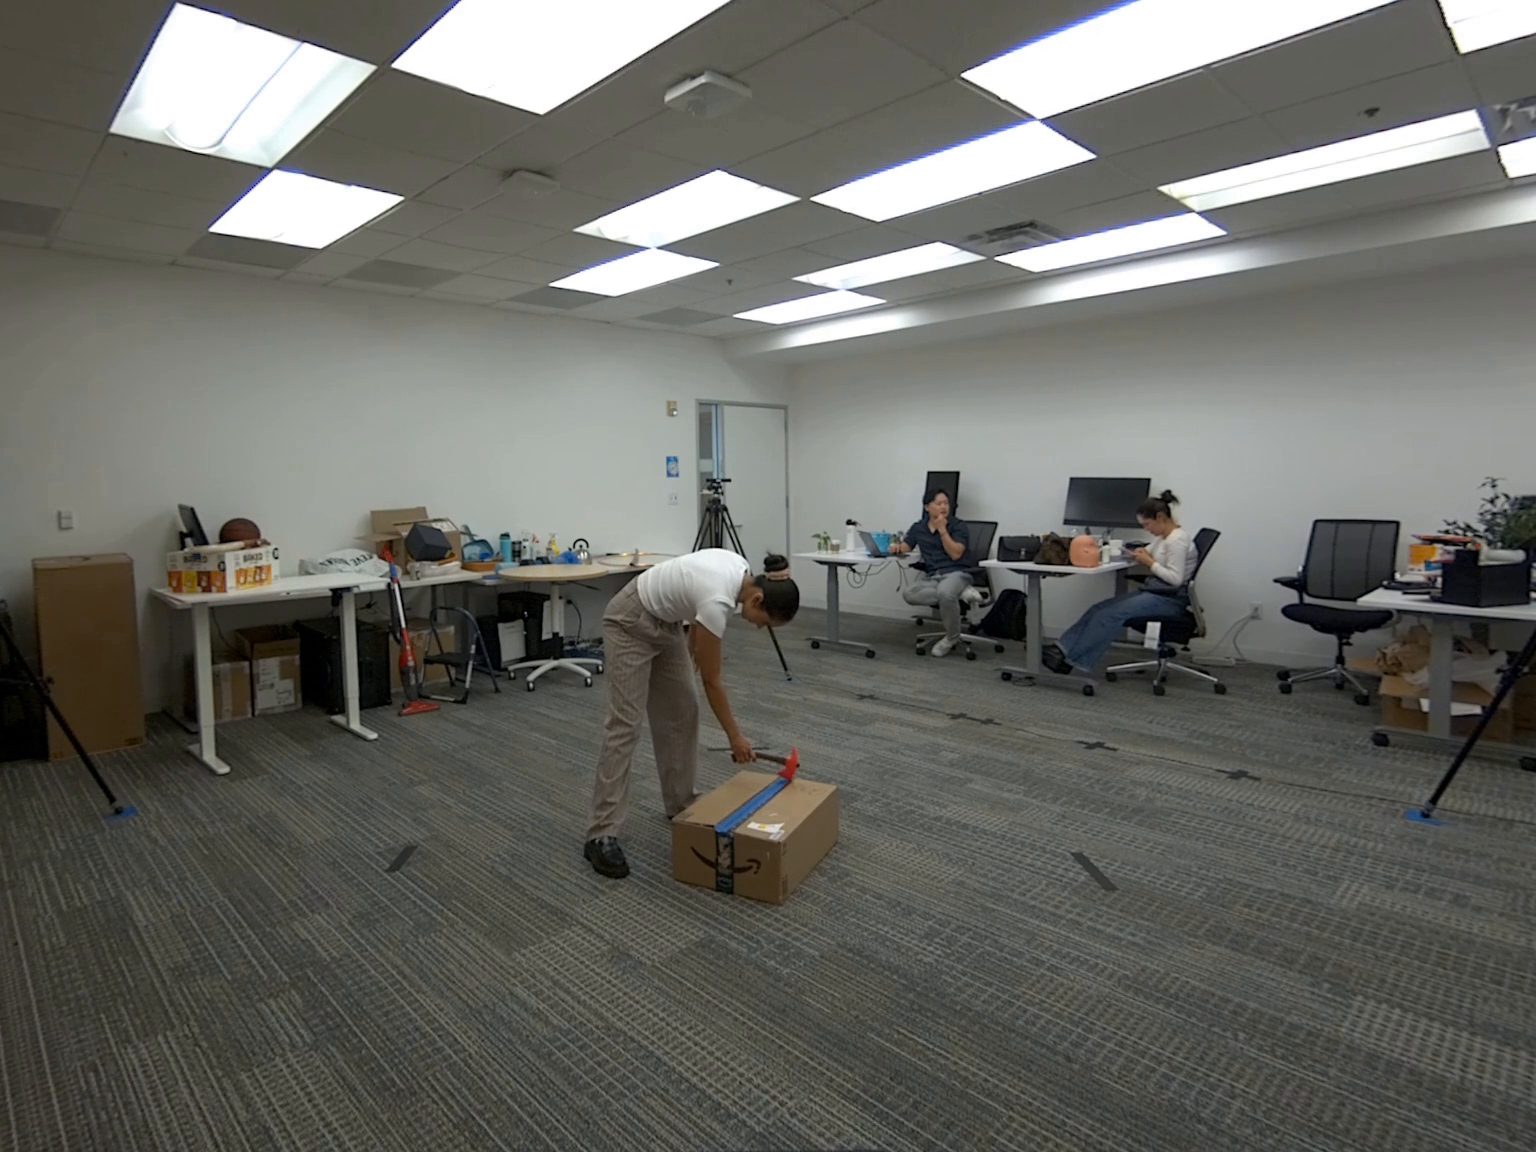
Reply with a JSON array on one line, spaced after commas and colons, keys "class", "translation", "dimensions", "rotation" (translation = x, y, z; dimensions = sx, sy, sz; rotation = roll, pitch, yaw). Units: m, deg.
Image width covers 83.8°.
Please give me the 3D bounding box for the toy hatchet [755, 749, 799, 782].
[{"class": "toy hatchet", "translation": [-0.013, 0.735, 3.334], "dimensions": [0.274, 0.130, 0.029], "rotation": [-5, 6, 18]}]
